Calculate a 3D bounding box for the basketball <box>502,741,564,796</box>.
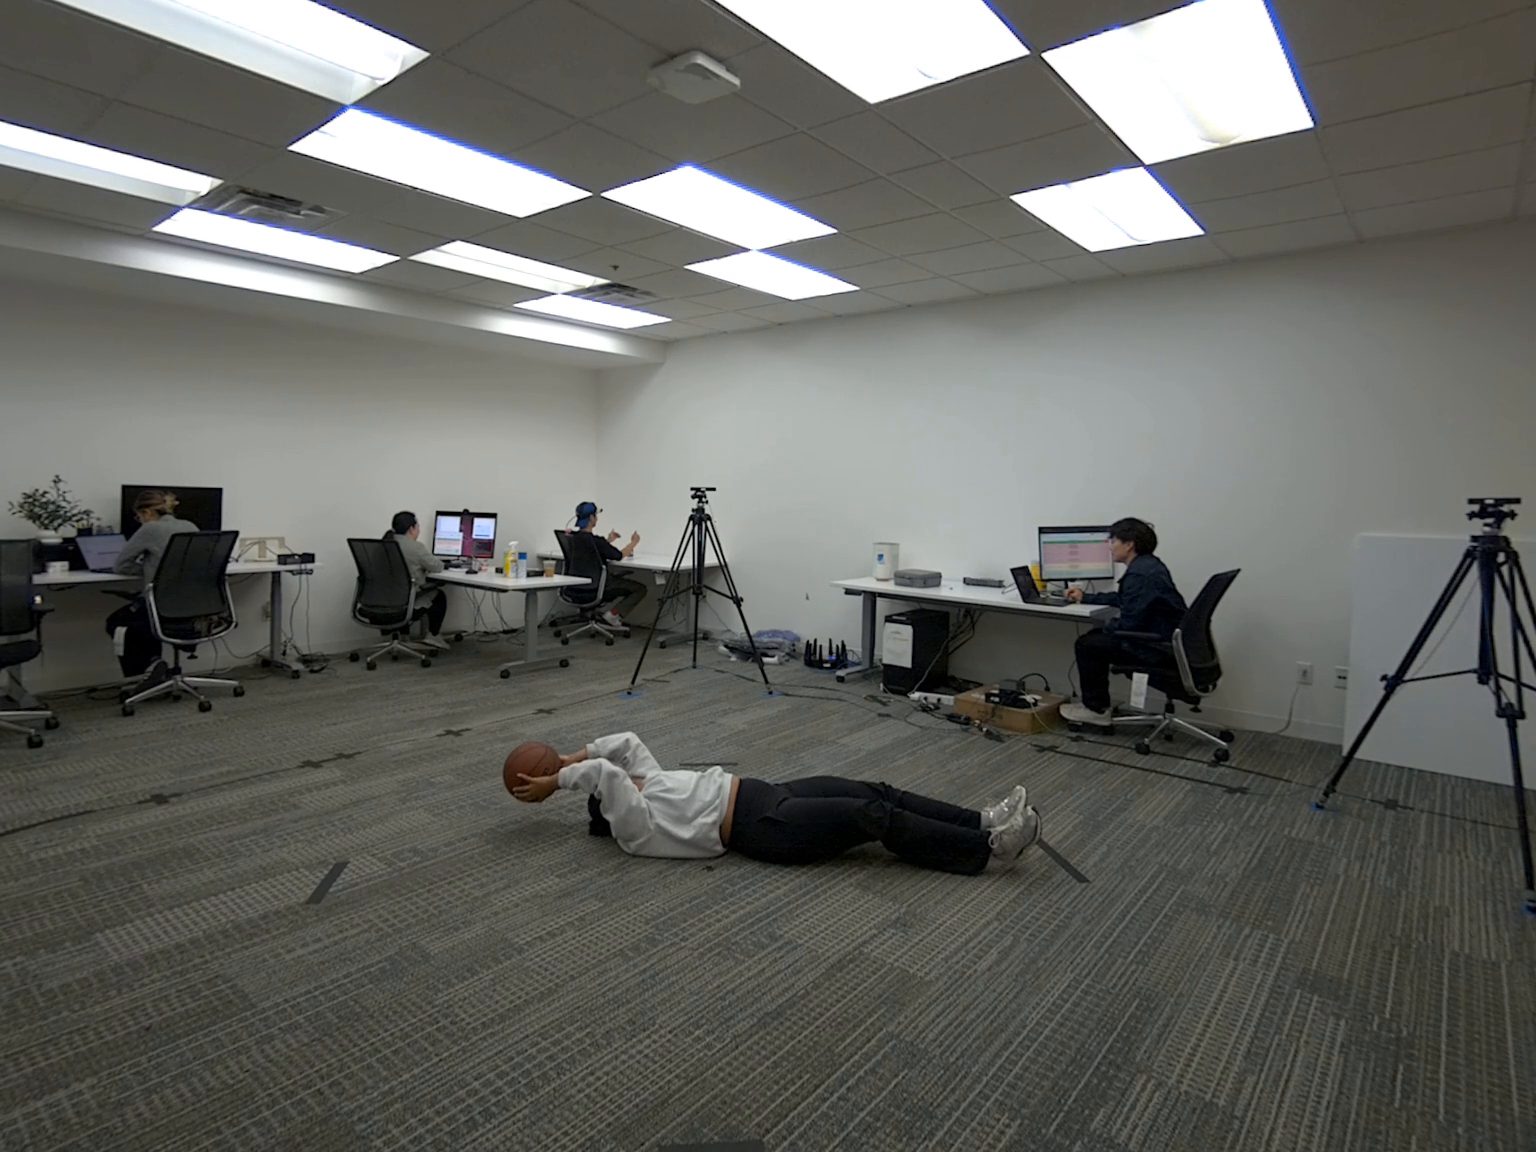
[{"bbox_3d":[-0.966,0.792,3.452,0.236,0.235,0.237,0,4,-2],"label":"basketball"}]
